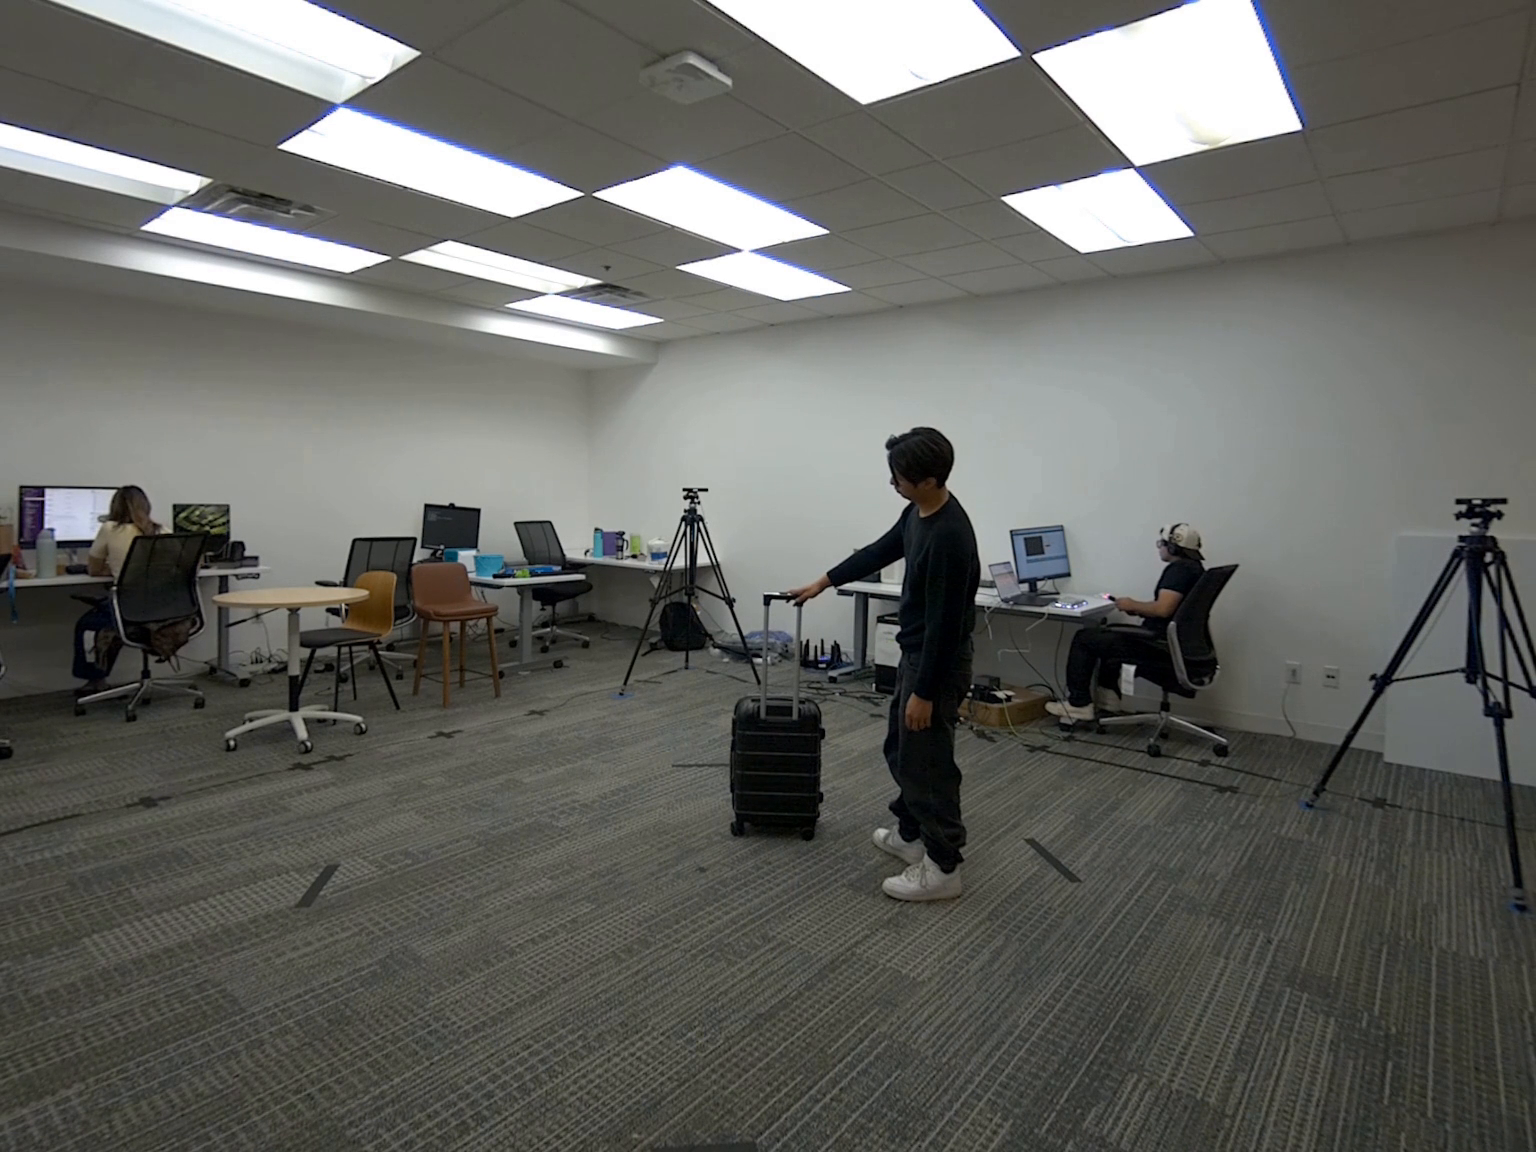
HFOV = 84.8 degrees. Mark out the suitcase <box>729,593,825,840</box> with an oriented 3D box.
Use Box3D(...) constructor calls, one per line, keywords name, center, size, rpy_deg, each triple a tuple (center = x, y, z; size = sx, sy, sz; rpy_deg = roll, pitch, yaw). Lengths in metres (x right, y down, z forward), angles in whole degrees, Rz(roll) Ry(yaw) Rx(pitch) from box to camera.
Box3D(name="suitcase", center=(0.032, 0.559, 3.497), size=(0.384, 0.977, 0.257), rpy_deg=(2, 1, 0))
